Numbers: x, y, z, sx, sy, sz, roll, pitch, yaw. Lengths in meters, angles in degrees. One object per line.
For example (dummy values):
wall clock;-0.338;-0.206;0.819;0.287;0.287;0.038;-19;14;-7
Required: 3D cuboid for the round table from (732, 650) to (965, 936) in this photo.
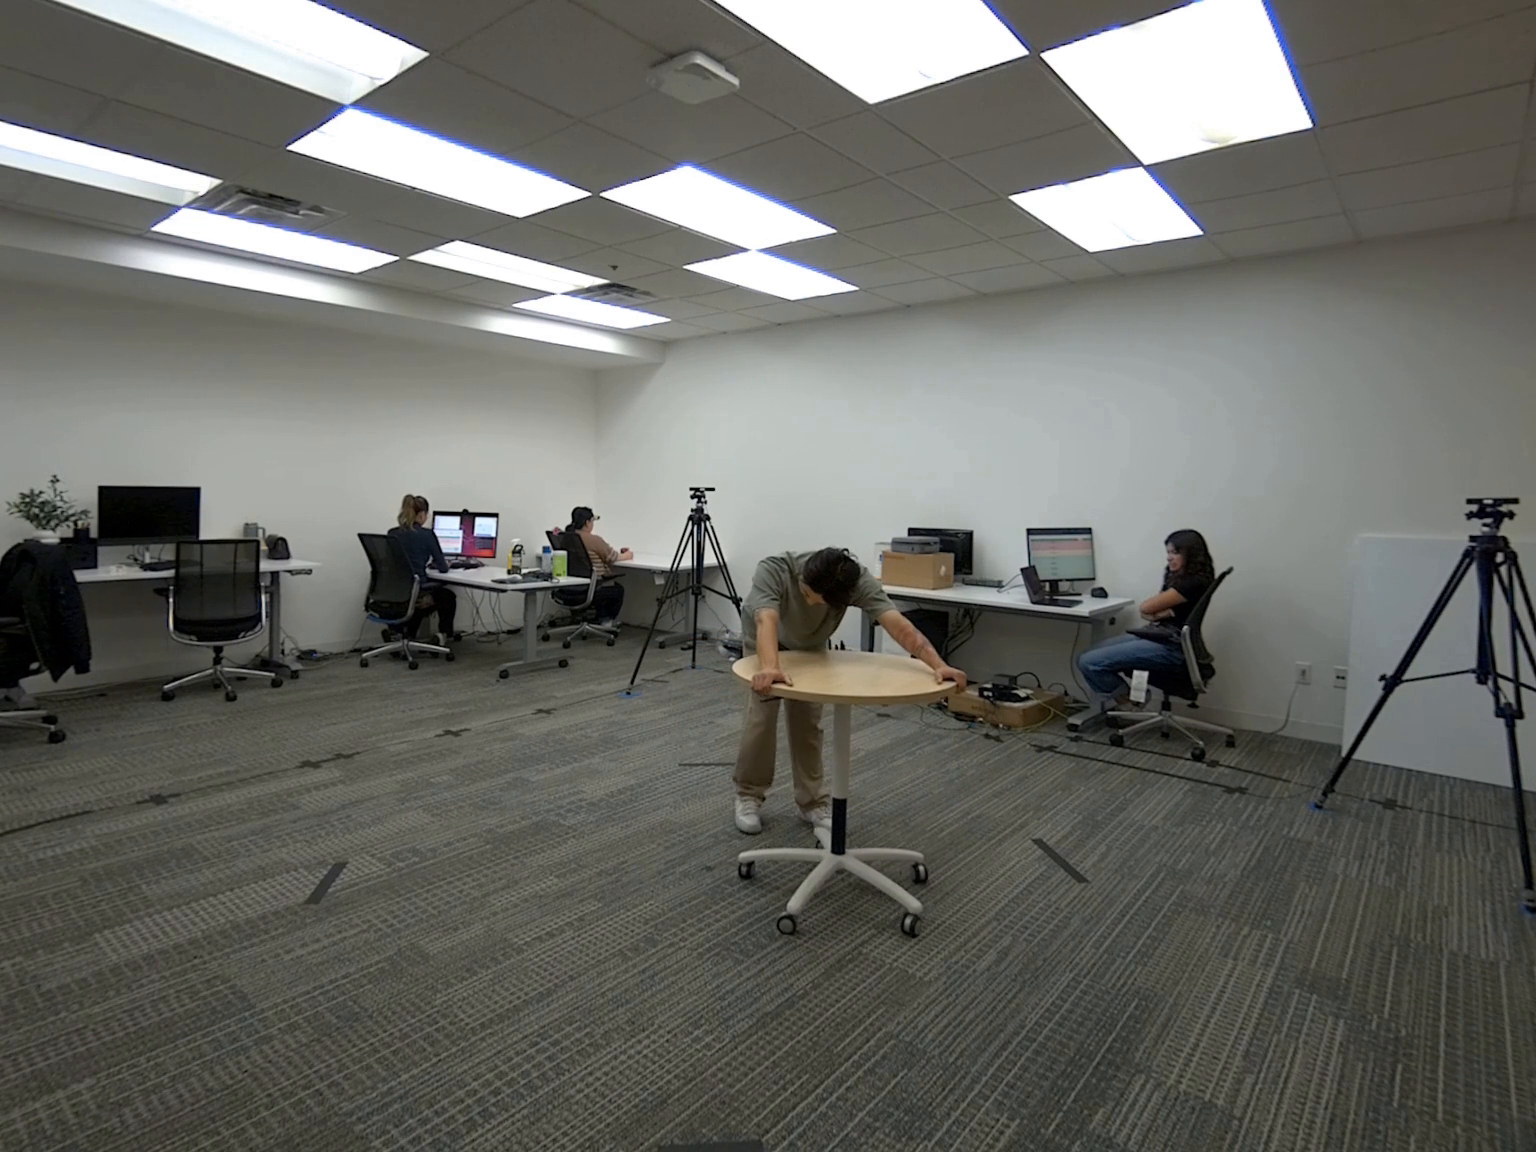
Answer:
round table;0.257;0.703;2.935;0.784;0.784;0.789;1;4;-2
